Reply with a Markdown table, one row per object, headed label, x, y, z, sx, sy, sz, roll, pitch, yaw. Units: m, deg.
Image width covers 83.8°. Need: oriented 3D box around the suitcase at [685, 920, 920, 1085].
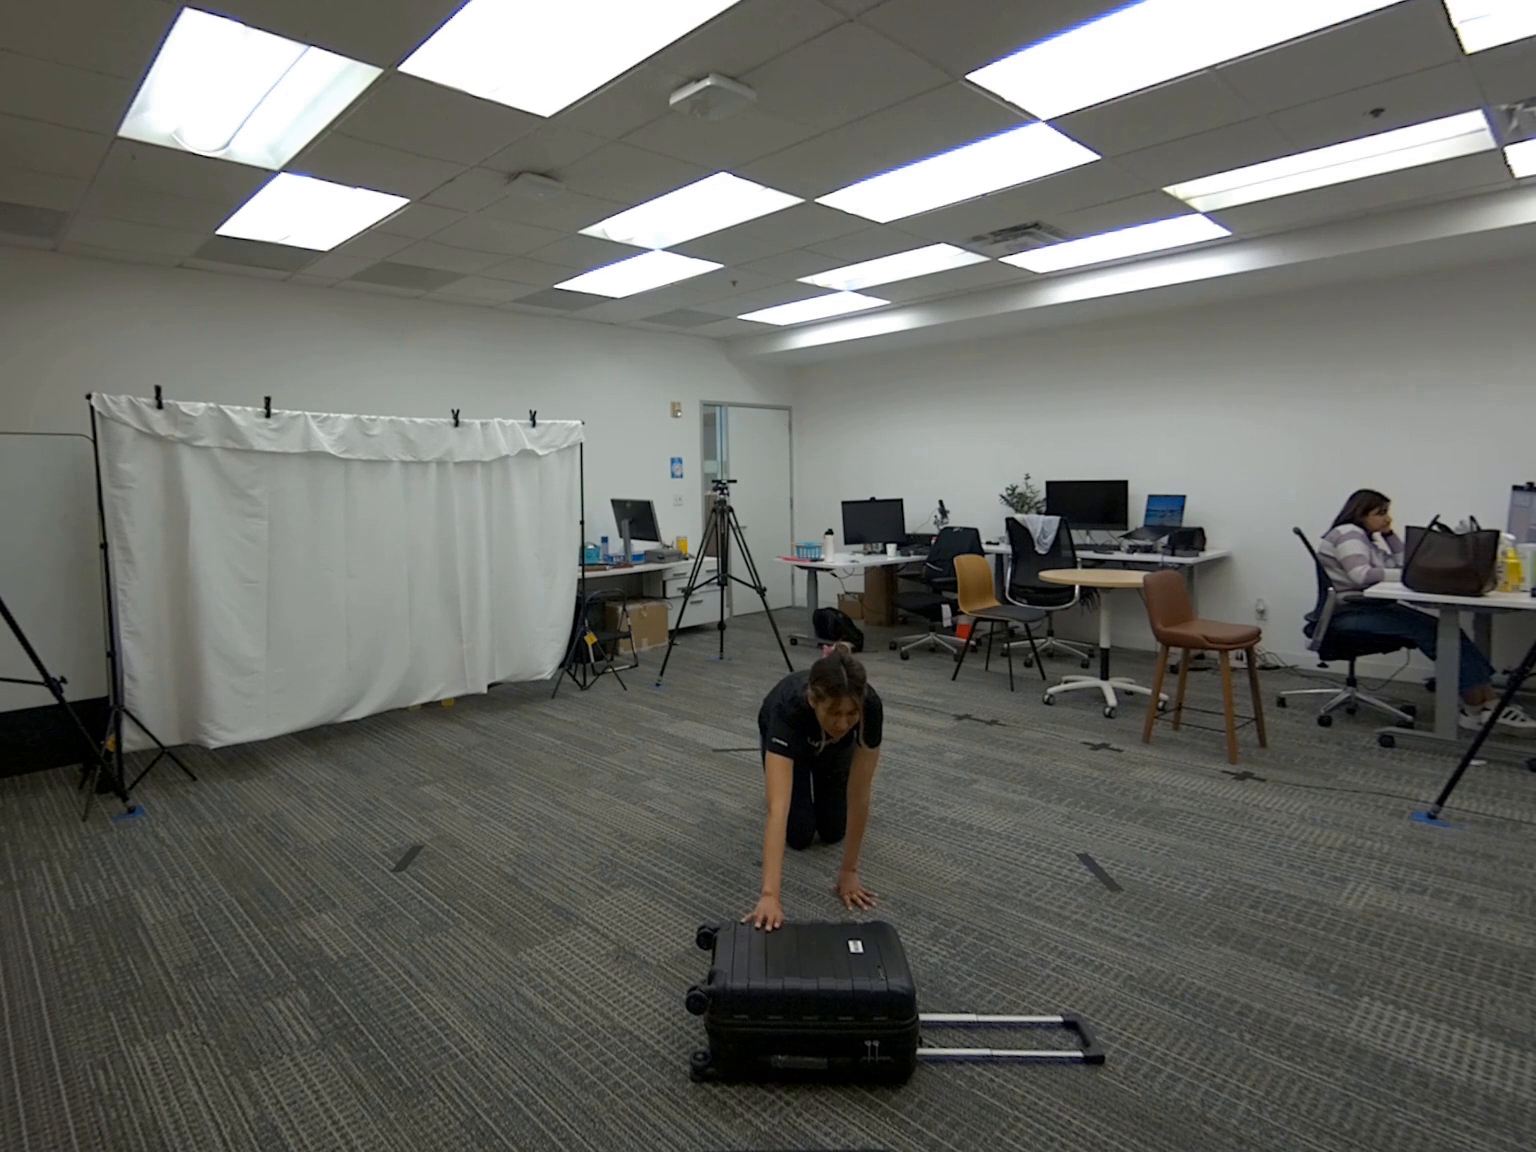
| label | x | y | z | sx | sy | sz | roll | pitch | yaw |
| --- | --- | --- | --- | --- | --- | --- | --- | --- | --- |
| suitcase | 0.300 | 1.037 | 2.106 | 0.981 | 0.256 | 0.384 | -3 | 3 | 2 |
